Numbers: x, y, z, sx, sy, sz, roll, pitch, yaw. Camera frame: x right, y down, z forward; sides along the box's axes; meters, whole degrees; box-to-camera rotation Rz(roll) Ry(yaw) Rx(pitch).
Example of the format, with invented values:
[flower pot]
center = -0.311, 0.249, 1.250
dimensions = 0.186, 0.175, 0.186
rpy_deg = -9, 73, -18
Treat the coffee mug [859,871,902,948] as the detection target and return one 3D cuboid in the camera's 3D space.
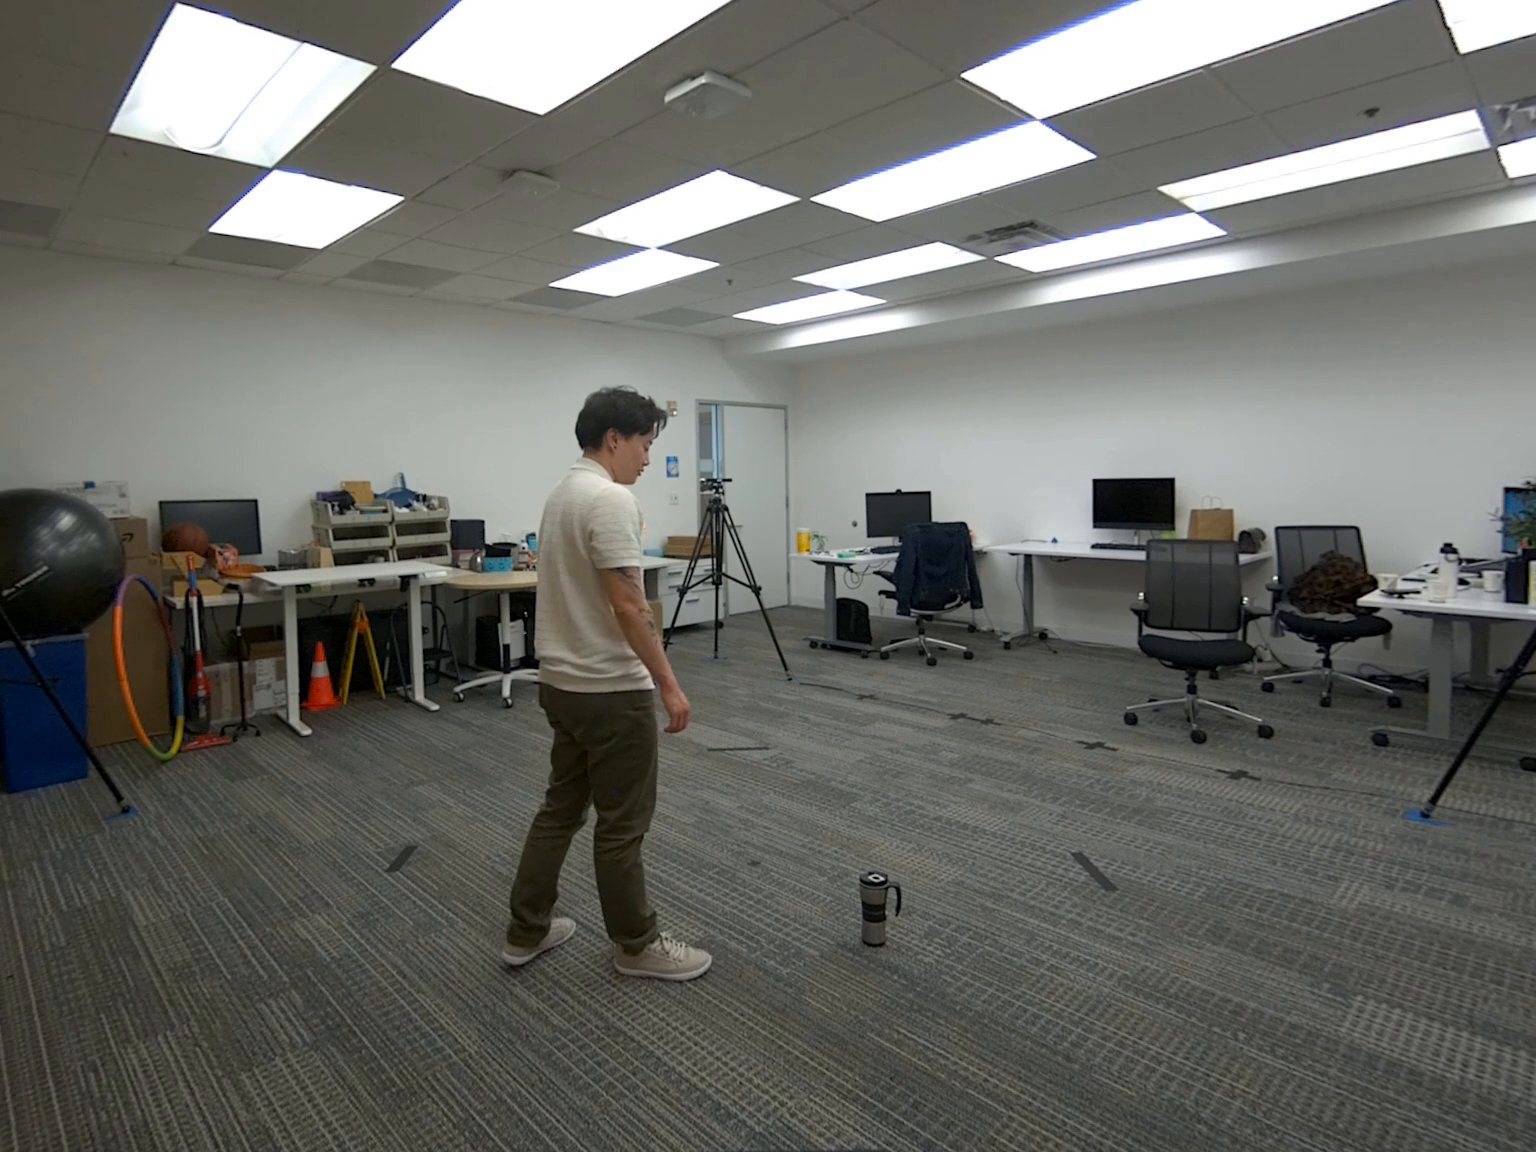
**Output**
[coffee mug]
center = 0.341, 1.001, 2.548
dimensions = 0.125, 0.203, 0.085
rpy_deg = -2, 1, 36
